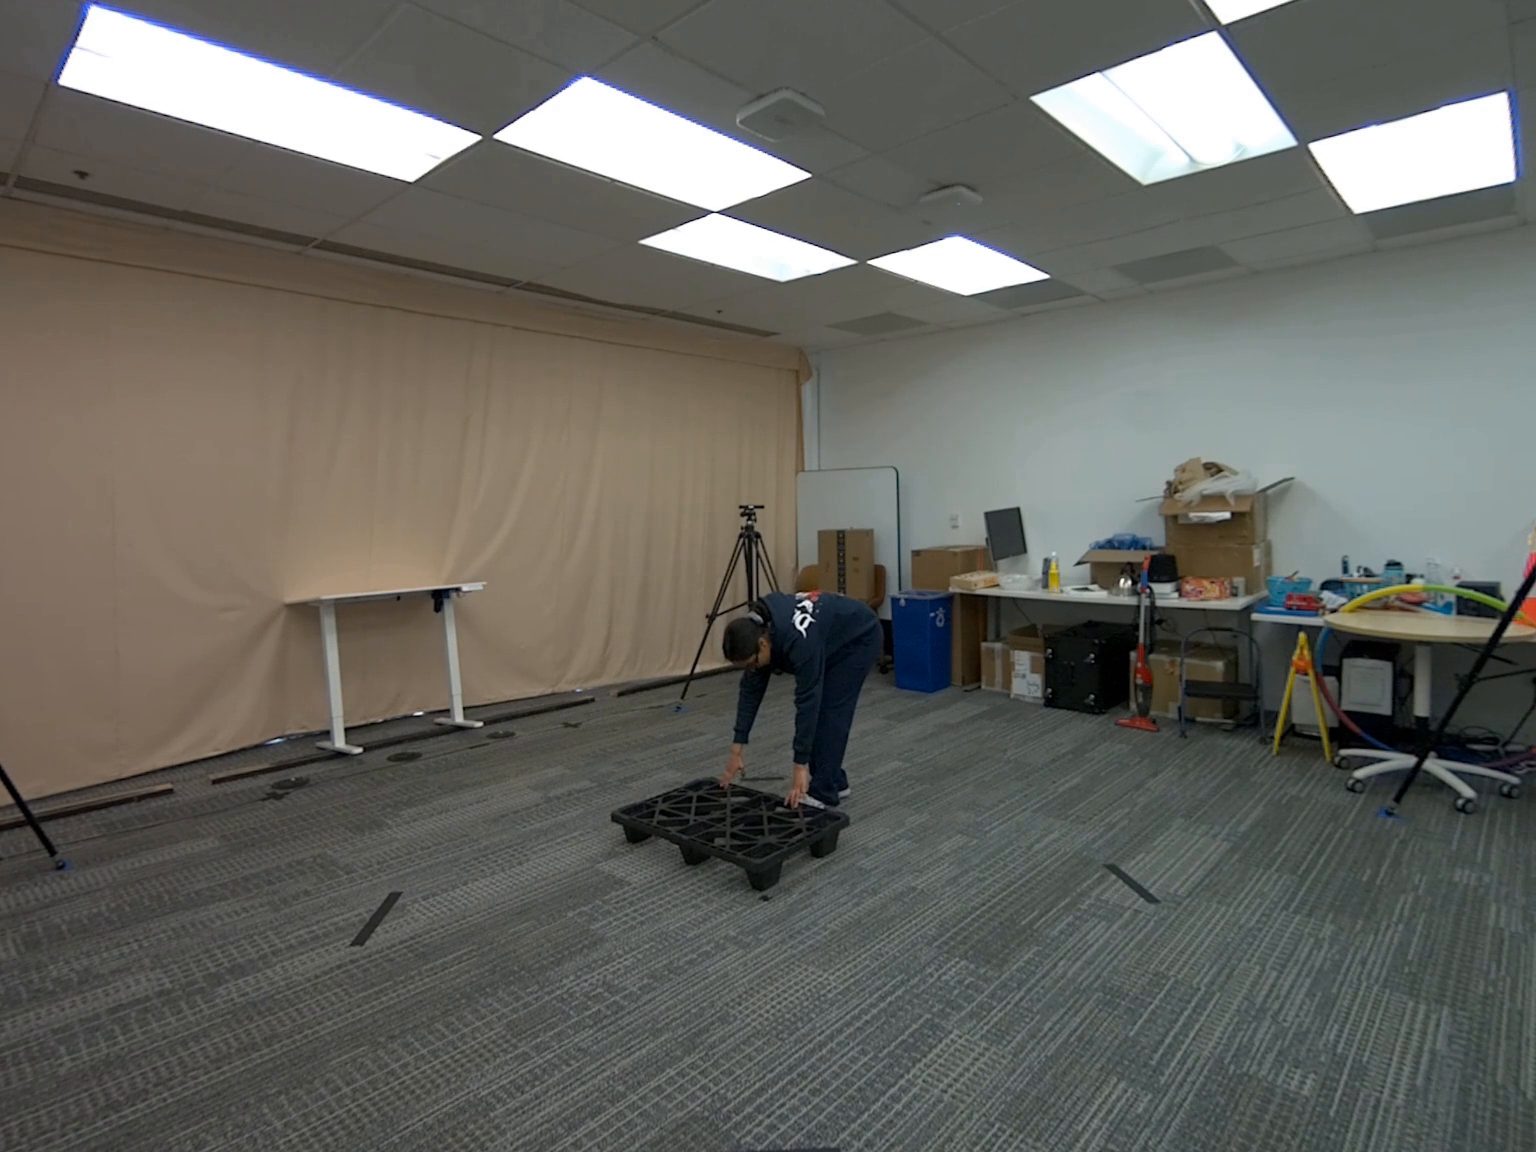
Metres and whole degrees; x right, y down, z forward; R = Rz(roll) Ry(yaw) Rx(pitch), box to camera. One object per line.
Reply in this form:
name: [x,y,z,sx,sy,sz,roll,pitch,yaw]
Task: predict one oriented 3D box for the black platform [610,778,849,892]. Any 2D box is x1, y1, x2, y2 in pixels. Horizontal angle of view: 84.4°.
black platform: [-0.161,1.037,3.447,0.832,0.143,0.587,3,5,41]
